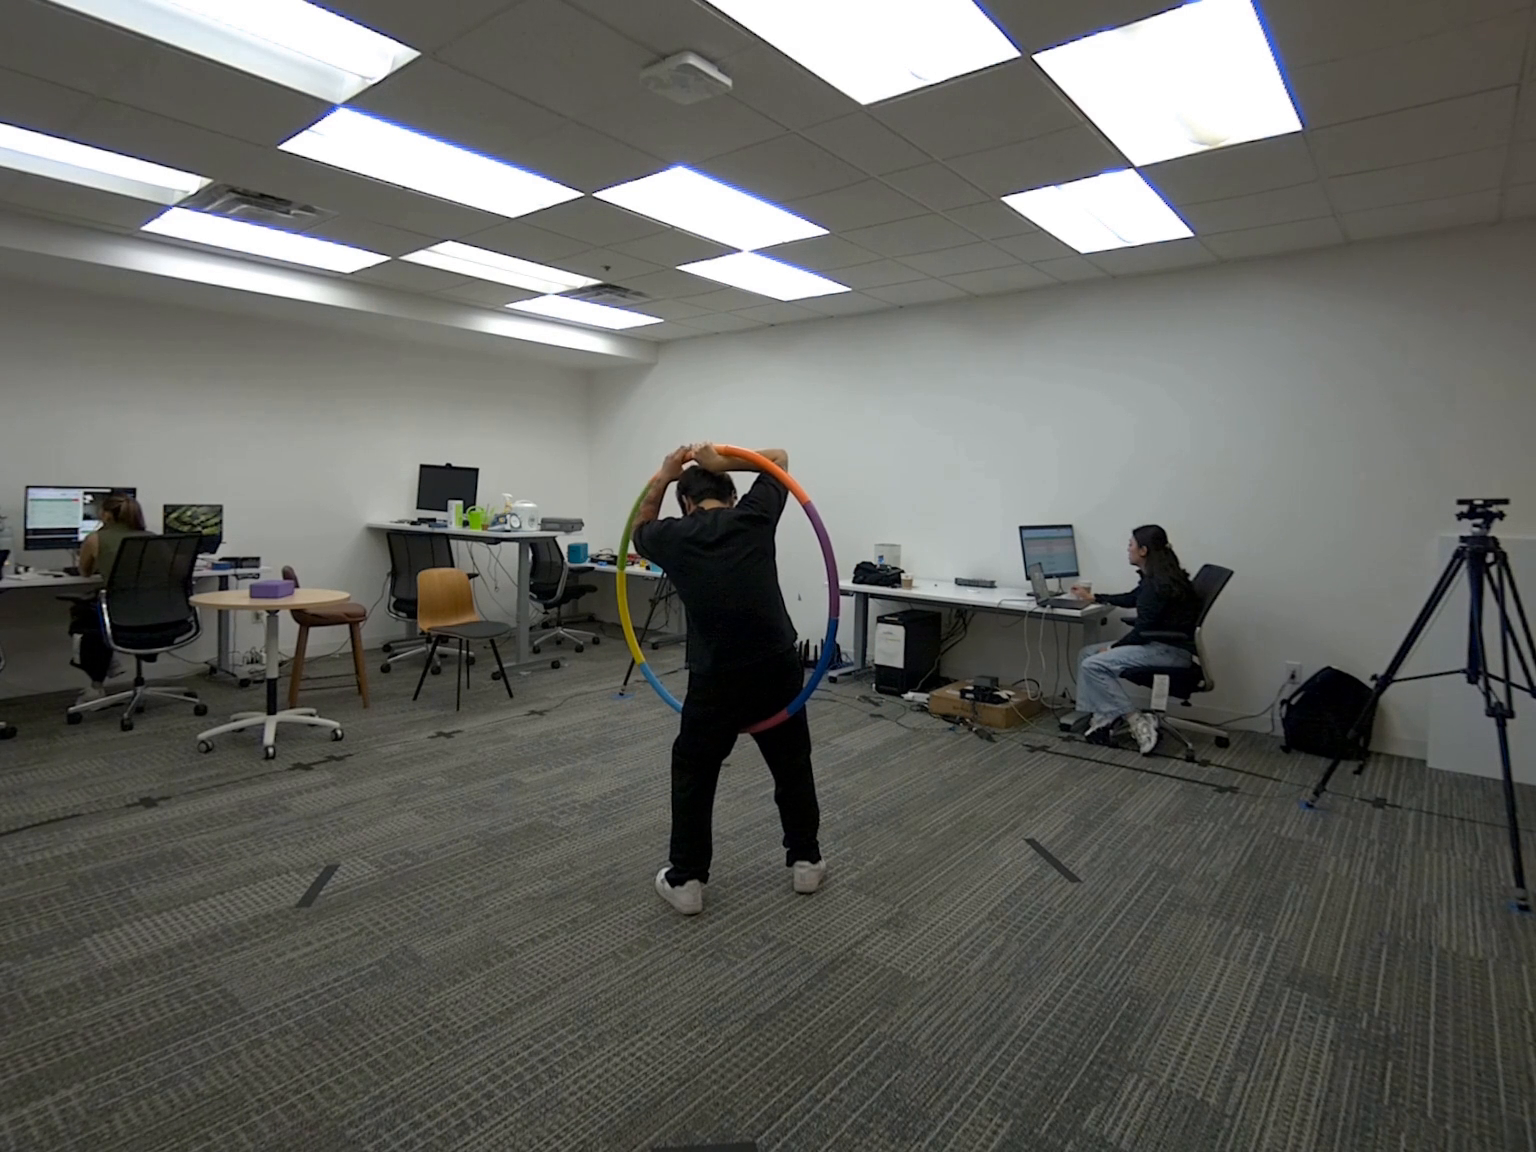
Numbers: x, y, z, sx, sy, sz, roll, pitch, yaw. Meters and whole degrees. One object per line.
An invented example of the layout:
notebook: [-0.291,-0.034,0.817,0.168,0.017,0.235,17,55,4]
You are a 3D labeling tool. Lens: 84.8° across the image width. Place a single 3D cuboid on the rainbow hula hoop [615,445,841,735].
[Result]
rainbow hula hoop: [-0.191,0.039,2.949,1.011,0.974,0.034,4,6,38]
